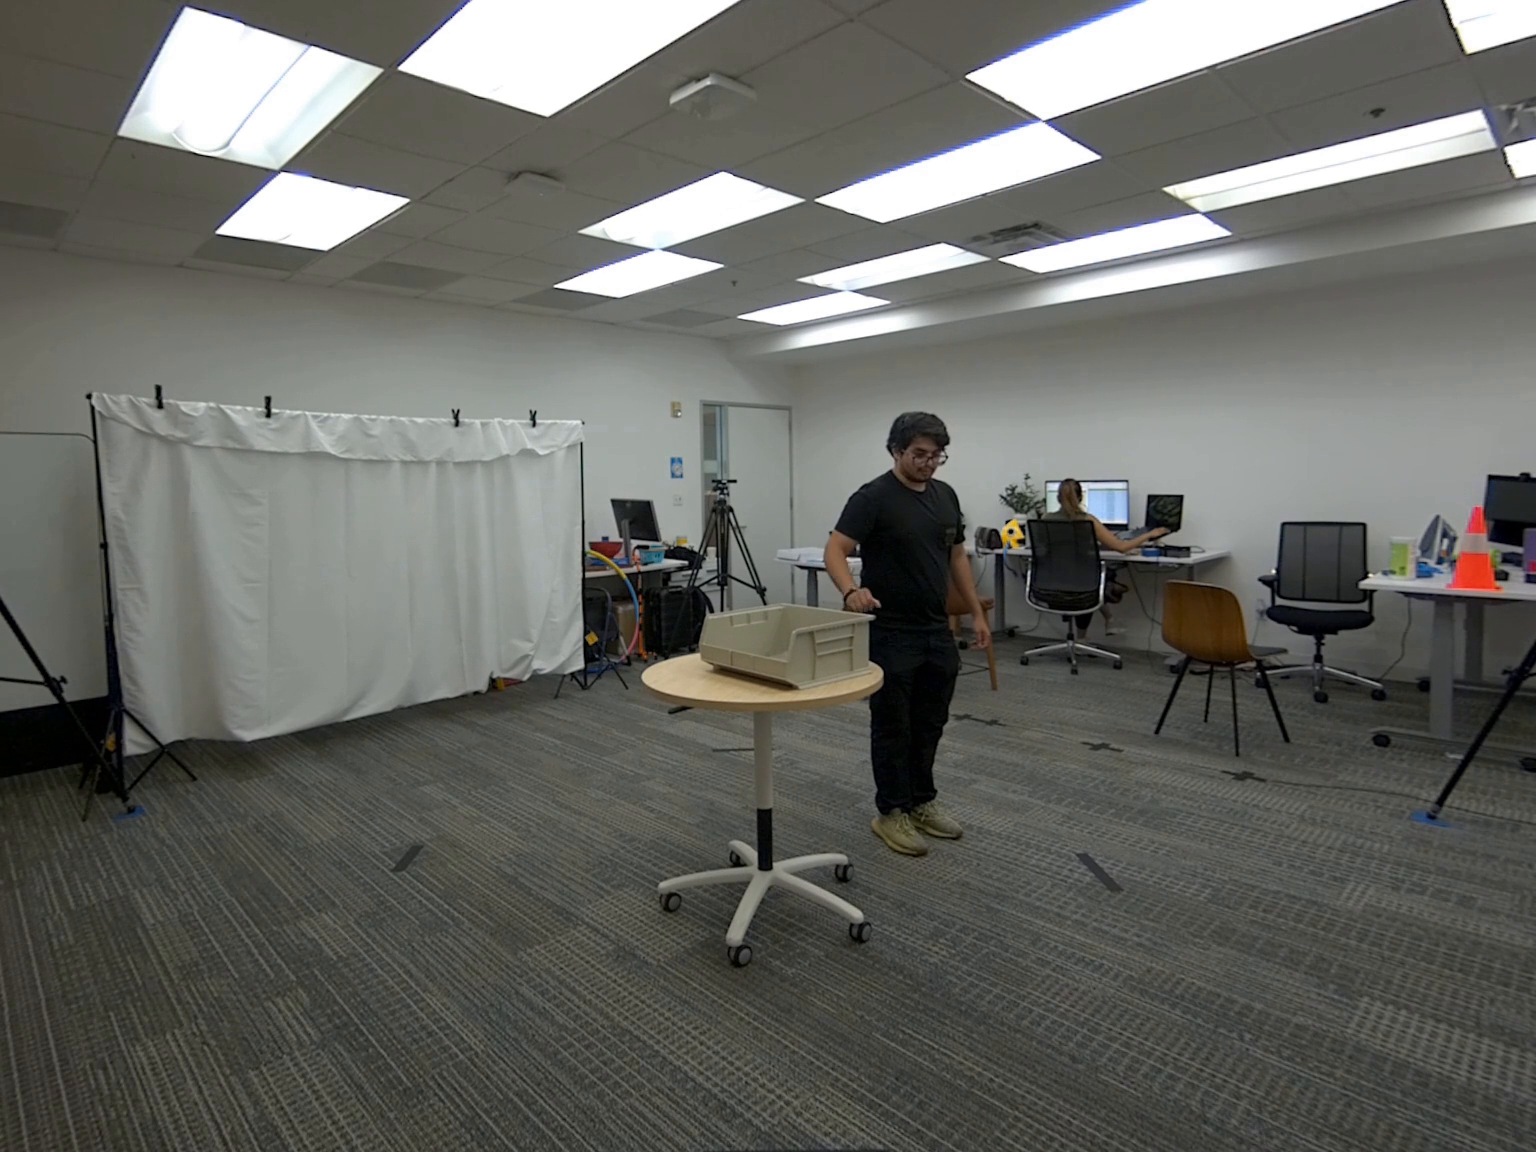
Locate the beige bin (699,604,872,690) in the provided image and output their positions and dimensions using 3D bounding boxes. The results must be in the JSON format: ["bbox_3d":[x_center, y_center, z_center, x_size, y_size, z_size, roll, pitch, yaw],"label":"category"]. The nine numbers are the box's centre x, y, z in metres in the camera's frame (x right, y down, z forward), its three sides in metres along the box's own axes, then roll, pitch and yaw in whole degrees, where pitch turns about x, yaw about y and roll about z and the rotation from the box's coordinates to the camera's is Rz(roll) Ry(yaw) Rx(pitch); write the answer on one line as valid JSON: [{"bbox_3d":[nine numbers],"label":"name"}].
[{"bbox_3d":[0.058,0.218,2.704,0.367,0.188,0.435,-4,5,-39],"label":"beige bin"}]
